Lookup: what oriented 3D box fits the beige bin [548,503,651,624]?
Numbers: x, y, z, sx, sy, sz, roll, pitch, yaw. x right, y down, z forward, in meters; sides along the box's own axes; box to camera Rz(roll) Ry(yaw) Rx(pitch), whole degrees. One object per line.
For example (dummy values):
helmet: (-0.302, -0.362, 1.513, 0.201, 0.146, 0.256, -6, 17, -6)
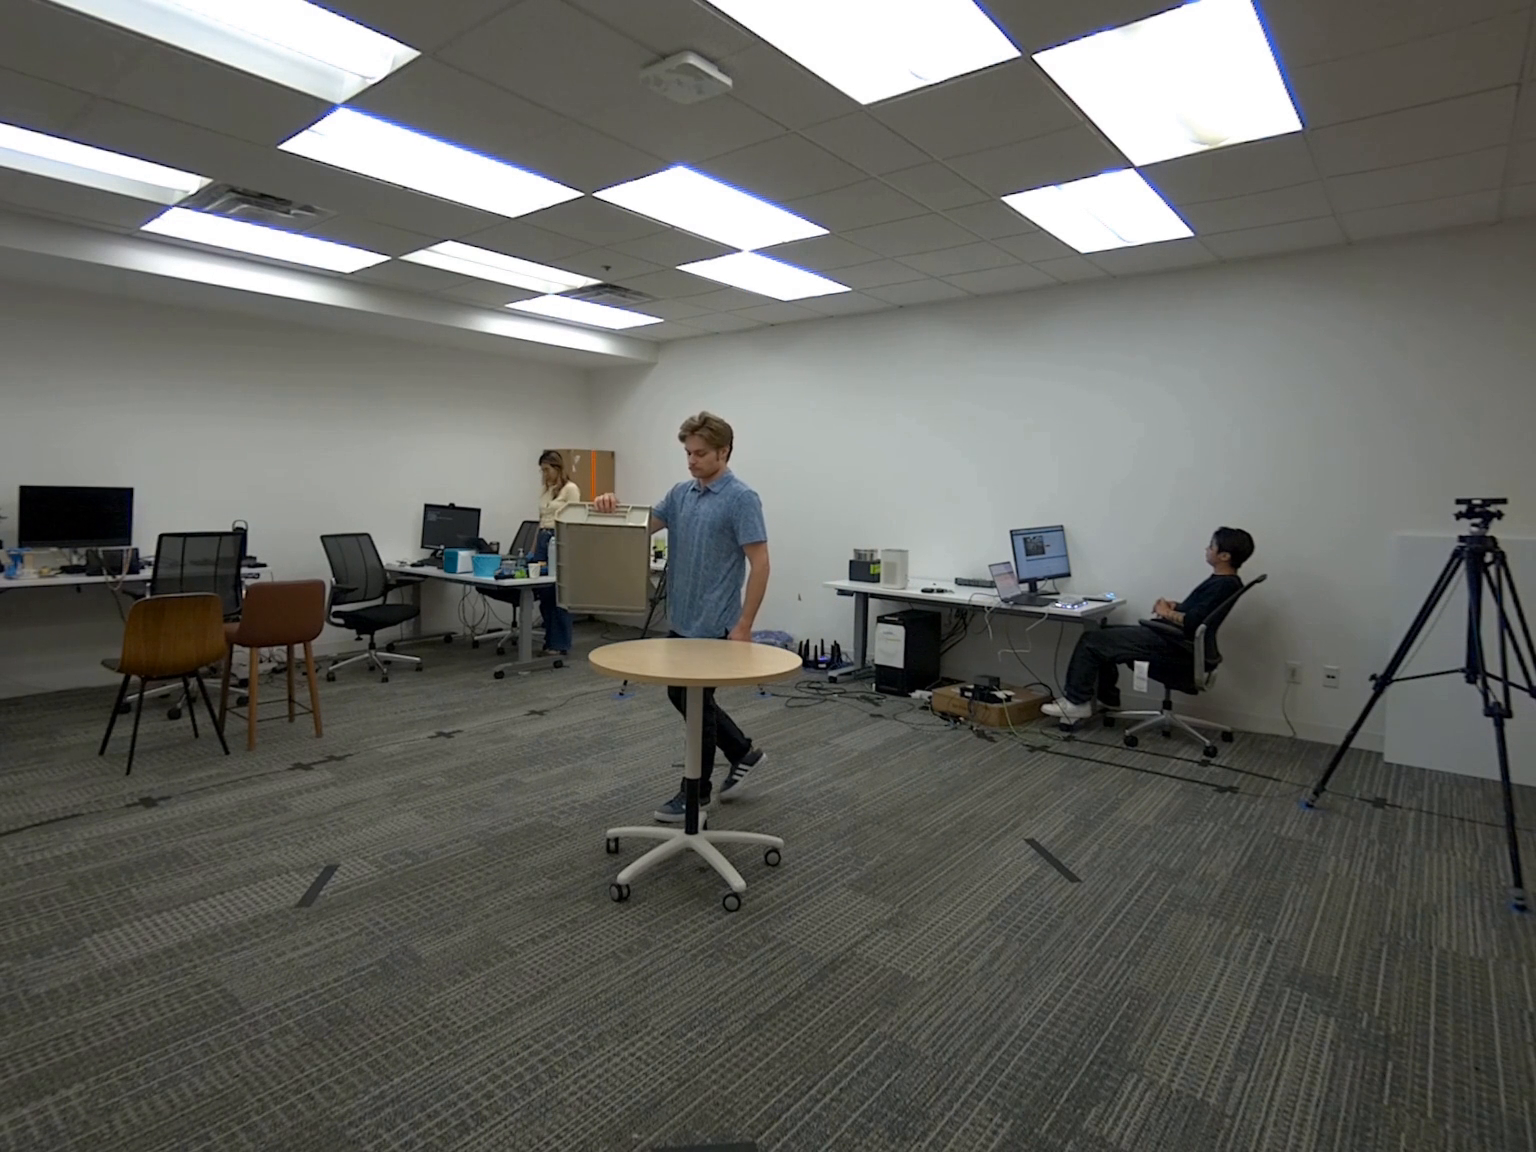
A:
beige bin: (-0.689, -0.072, 3.489, 0.376, 0.414, 0.194, 3, 26, -4)
